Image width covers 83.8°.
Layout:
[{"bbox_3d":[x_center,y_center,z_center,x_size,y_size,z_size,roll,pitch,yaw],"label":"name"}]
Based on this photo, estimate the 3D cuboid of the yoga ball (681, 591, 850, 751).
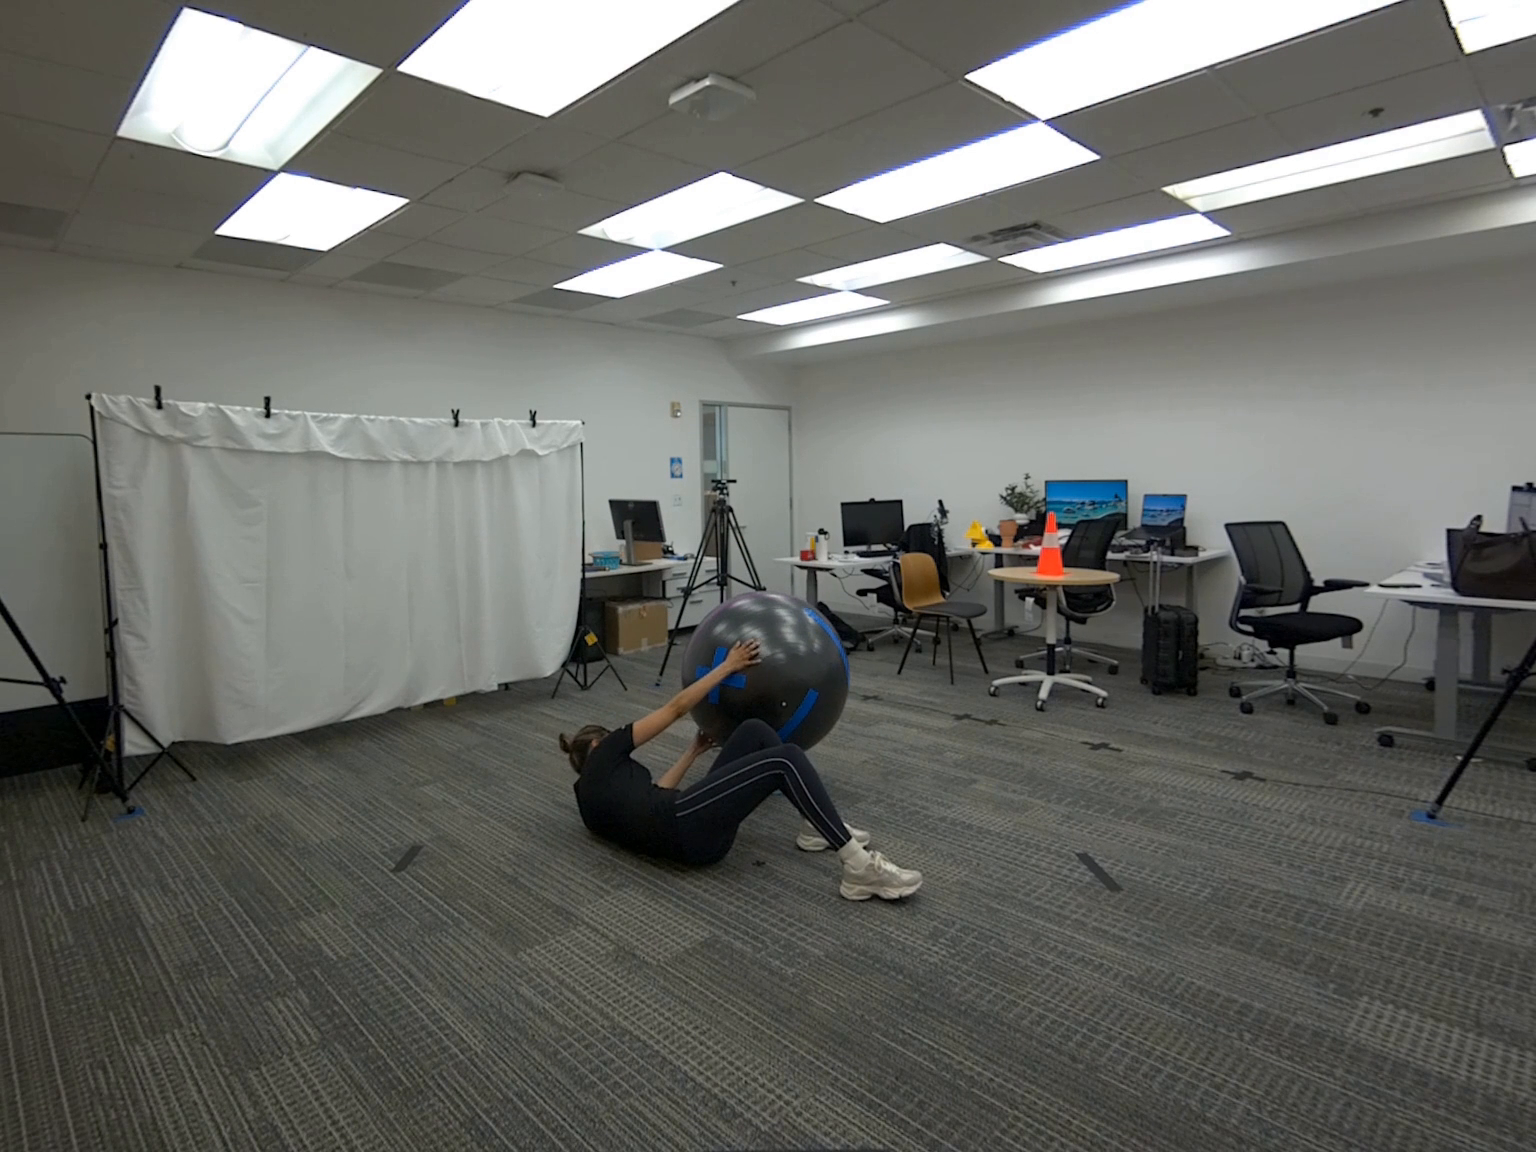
[{"bbox_3d":[-0.016,0.453,3.872,0.757,0.755,0.762,-1,5,-2],"label":"yoga ball"}]
